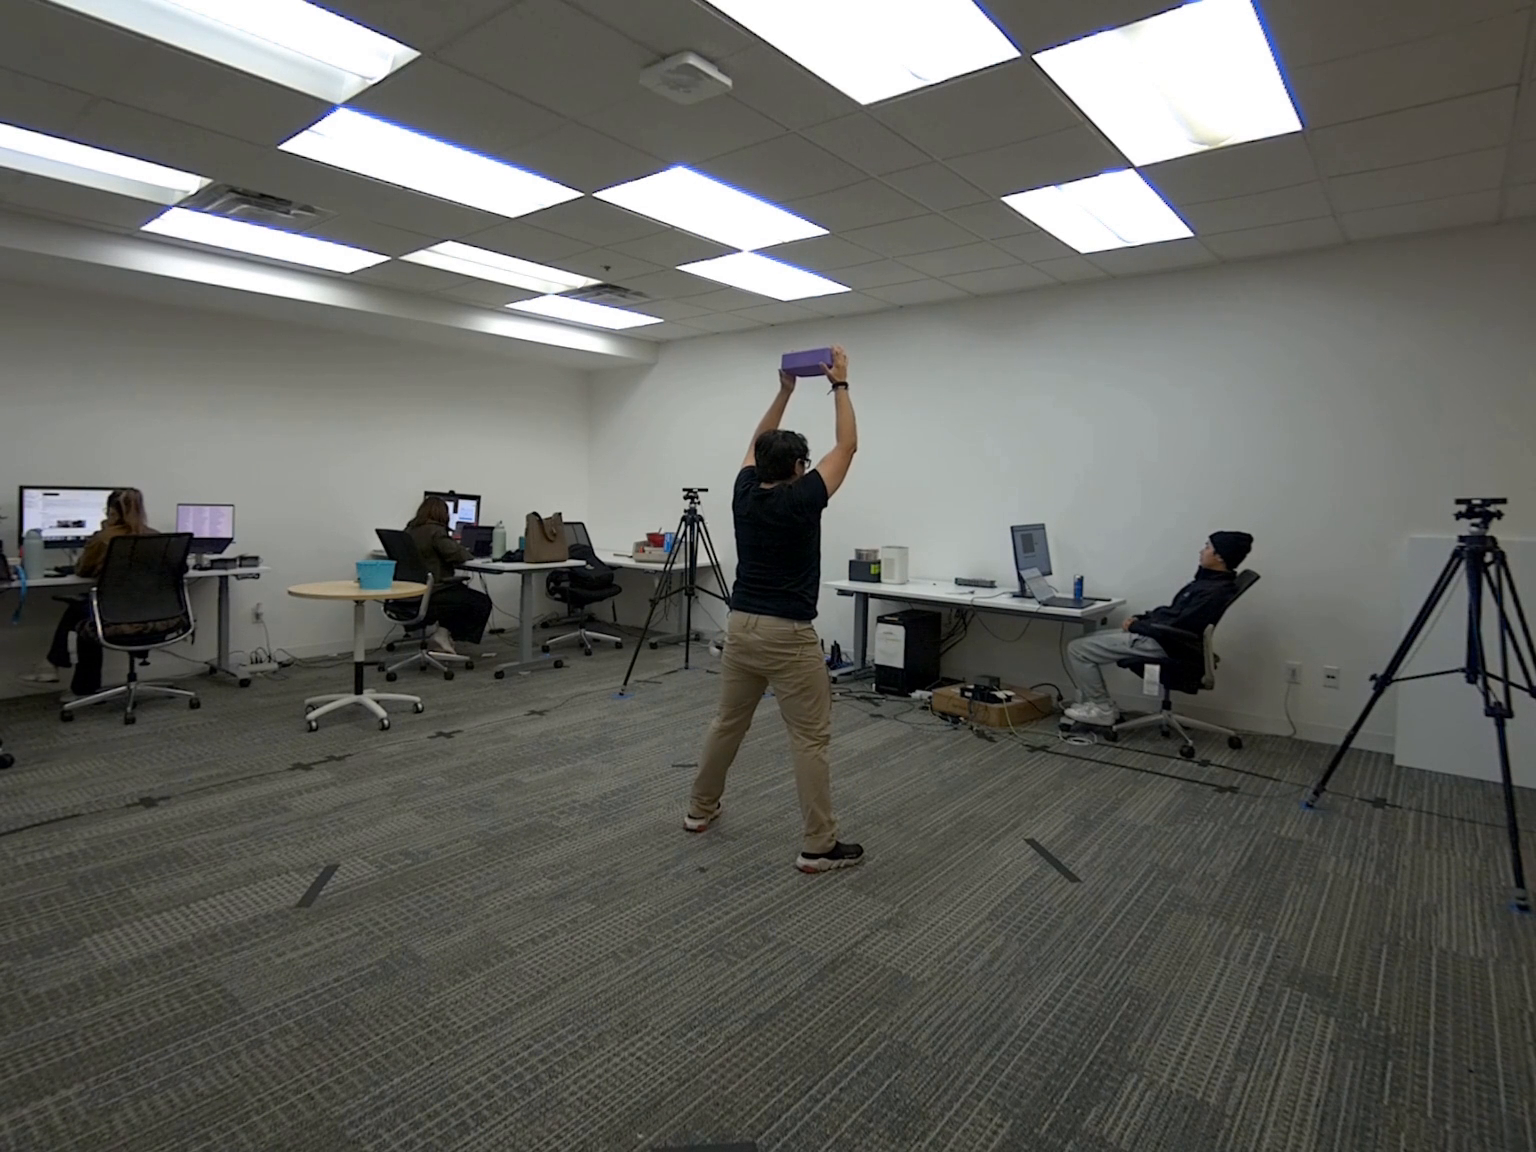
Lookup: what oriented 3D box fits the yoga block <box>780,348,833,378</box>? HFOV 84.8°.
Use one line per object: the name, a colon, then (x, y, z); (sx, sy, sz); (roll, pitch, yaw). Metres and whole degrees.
yoga block: (0.173, -0.872, 3.442); (0.237, 0.076, 0.144); (3, -2, 38)
